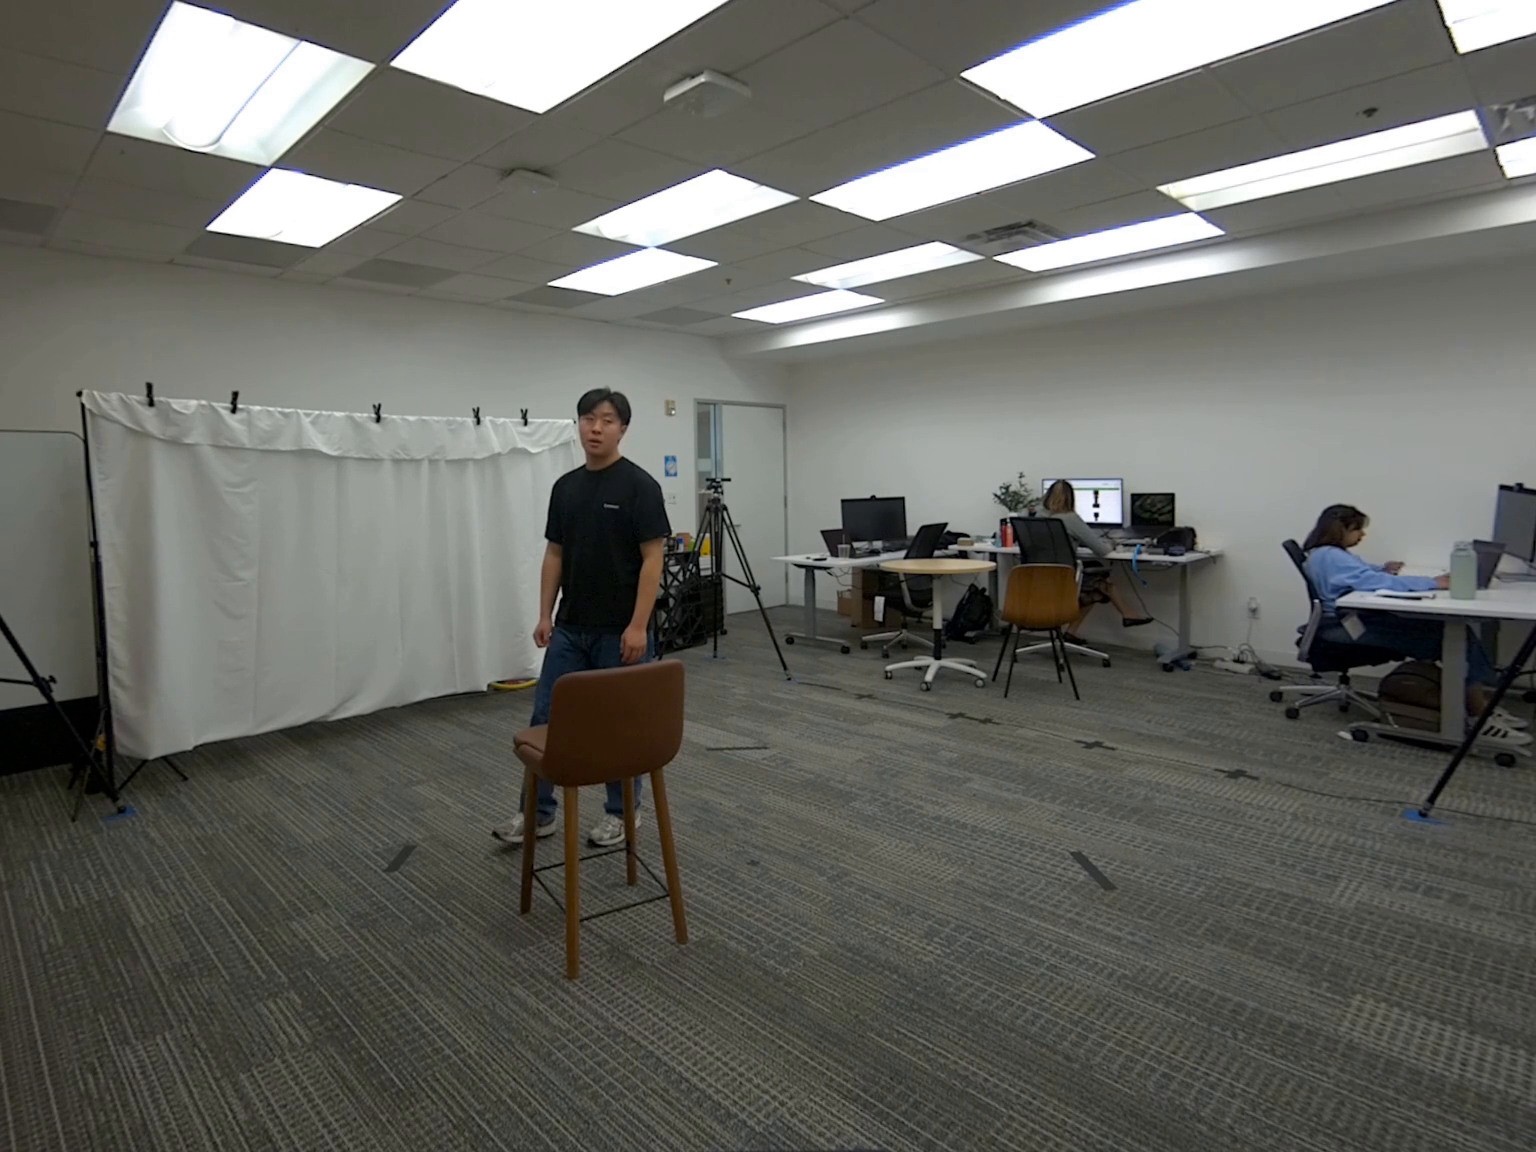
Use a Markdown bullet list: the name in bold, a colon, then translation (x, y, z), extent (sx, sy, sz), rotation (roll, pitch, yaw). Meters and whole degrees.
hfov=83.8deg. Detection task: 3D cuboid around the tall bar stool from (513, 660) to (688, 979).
- **tall bar stool**: translation (-0.517, 0.665, 2.659), extent (0.446, 0.885, 0.481), rotation (-4, 7, -30)
